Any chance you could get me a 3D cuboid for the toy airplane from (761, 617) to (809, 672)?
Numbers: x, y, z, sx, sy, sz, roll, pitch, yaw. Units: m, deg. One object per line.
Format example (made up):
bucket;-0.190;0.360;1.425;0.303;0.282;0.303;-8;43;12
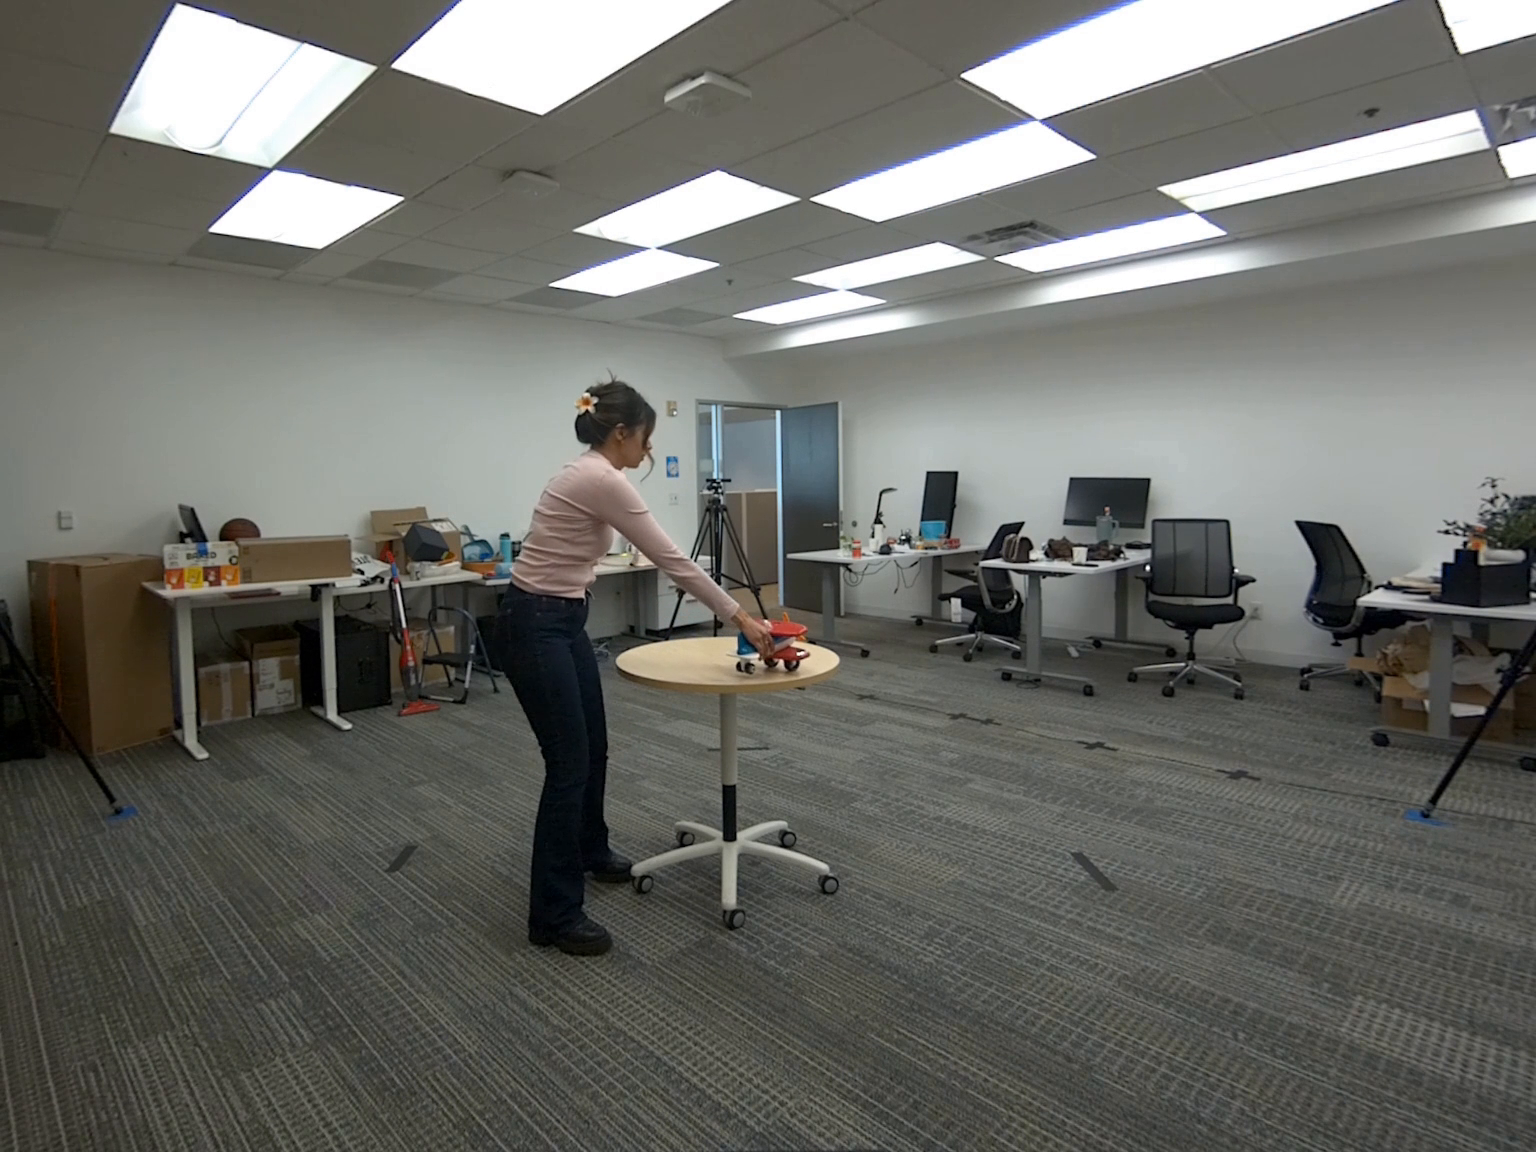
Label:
toy airplane;0.007;0.225;2.693;0.254;0.156;0.255;3;0;13
